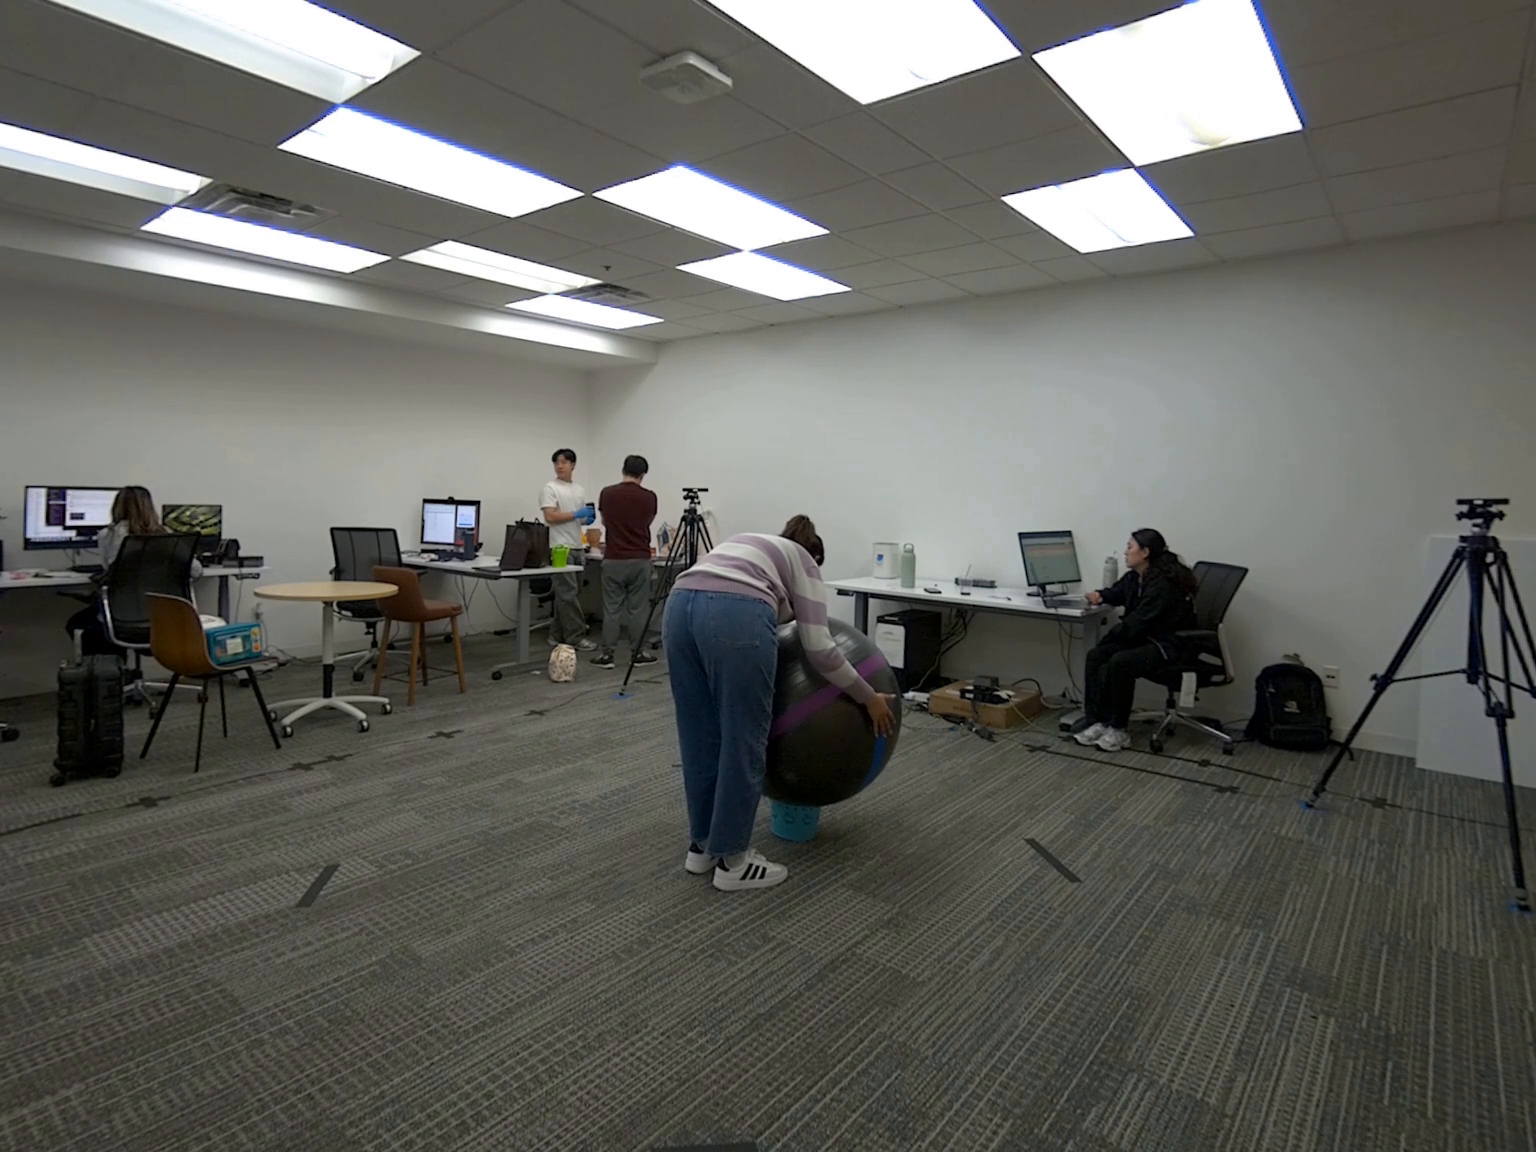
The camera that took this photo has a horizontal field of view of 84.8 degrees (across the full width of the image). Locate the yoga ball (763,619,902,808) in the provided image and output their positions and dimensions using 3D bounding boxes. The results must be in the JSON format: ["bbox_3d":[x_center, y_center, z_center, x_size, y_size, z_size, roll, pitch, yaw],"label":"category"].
[{"bbox_3d":[0.152,0.537,3.429,0.757,0.756,0.761,1,4,-2],"label":"yoga ball"}]
